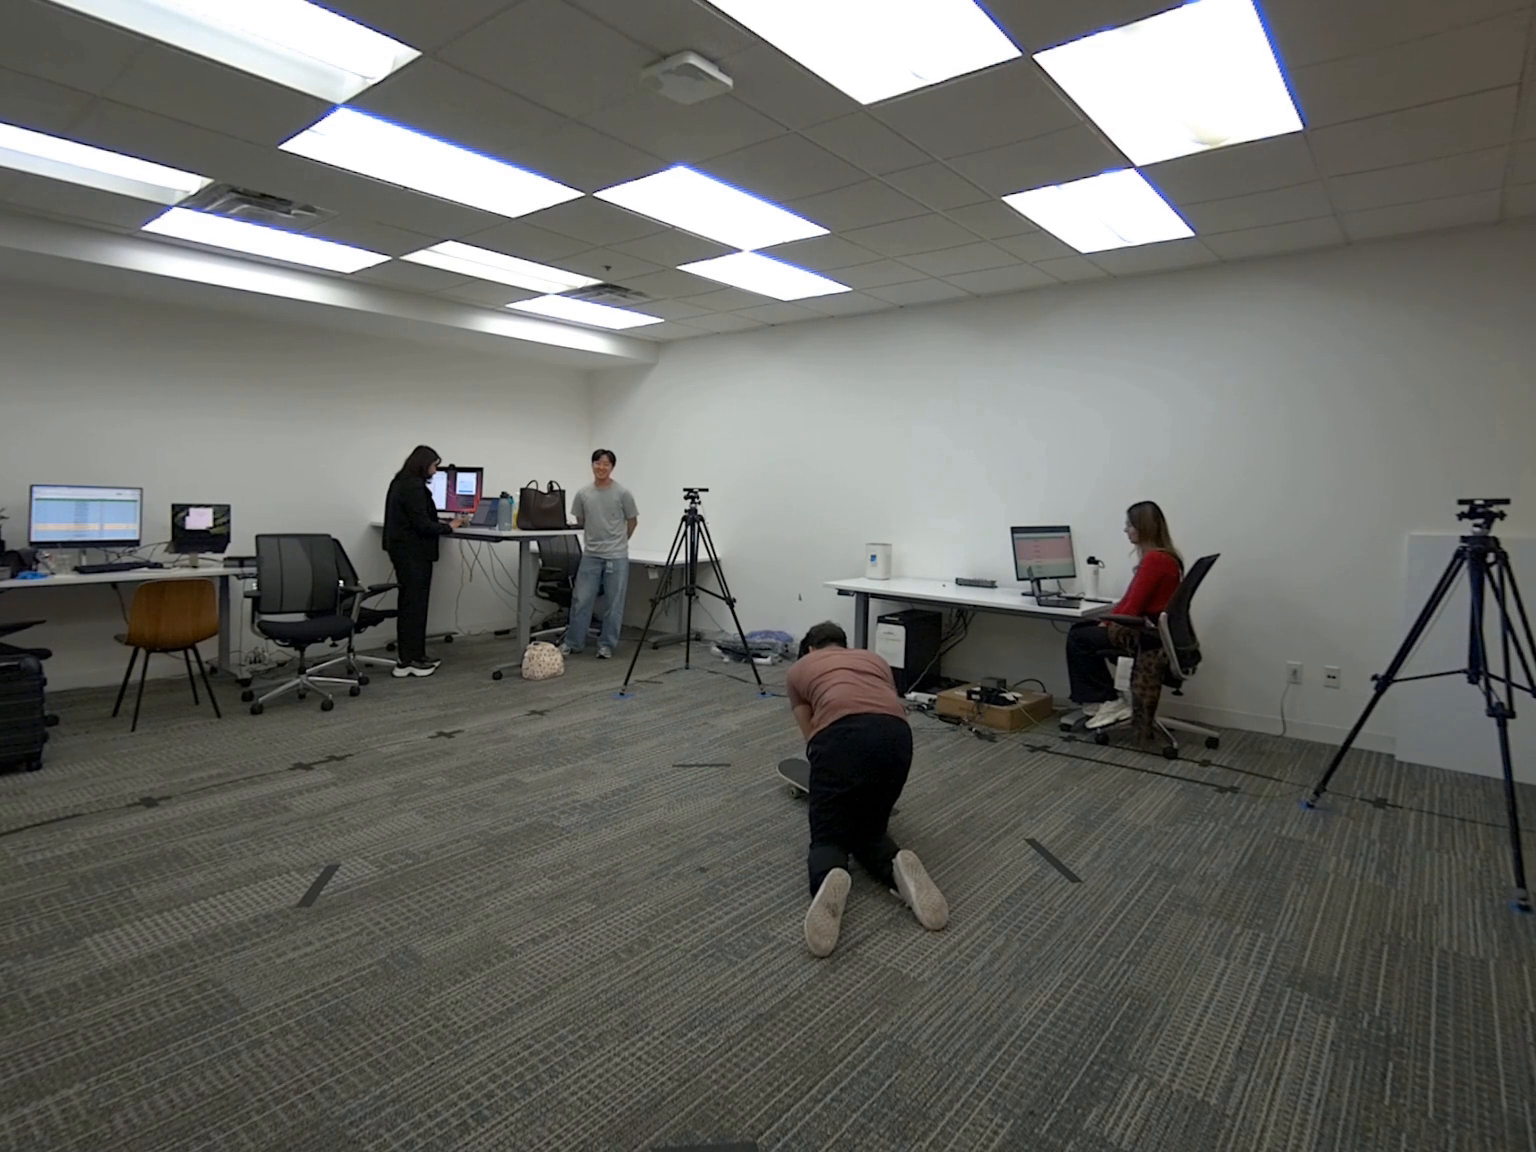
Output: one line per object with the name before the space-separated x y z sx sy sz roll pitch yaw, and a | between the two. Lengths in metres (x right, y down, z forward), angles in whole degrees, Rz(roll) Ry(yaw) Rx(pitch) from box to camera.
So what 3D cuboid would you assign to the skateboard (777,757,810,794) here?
skateboard | 0.280 0.959 3.713 0.189 0.109 0.809 -6 9 -28
